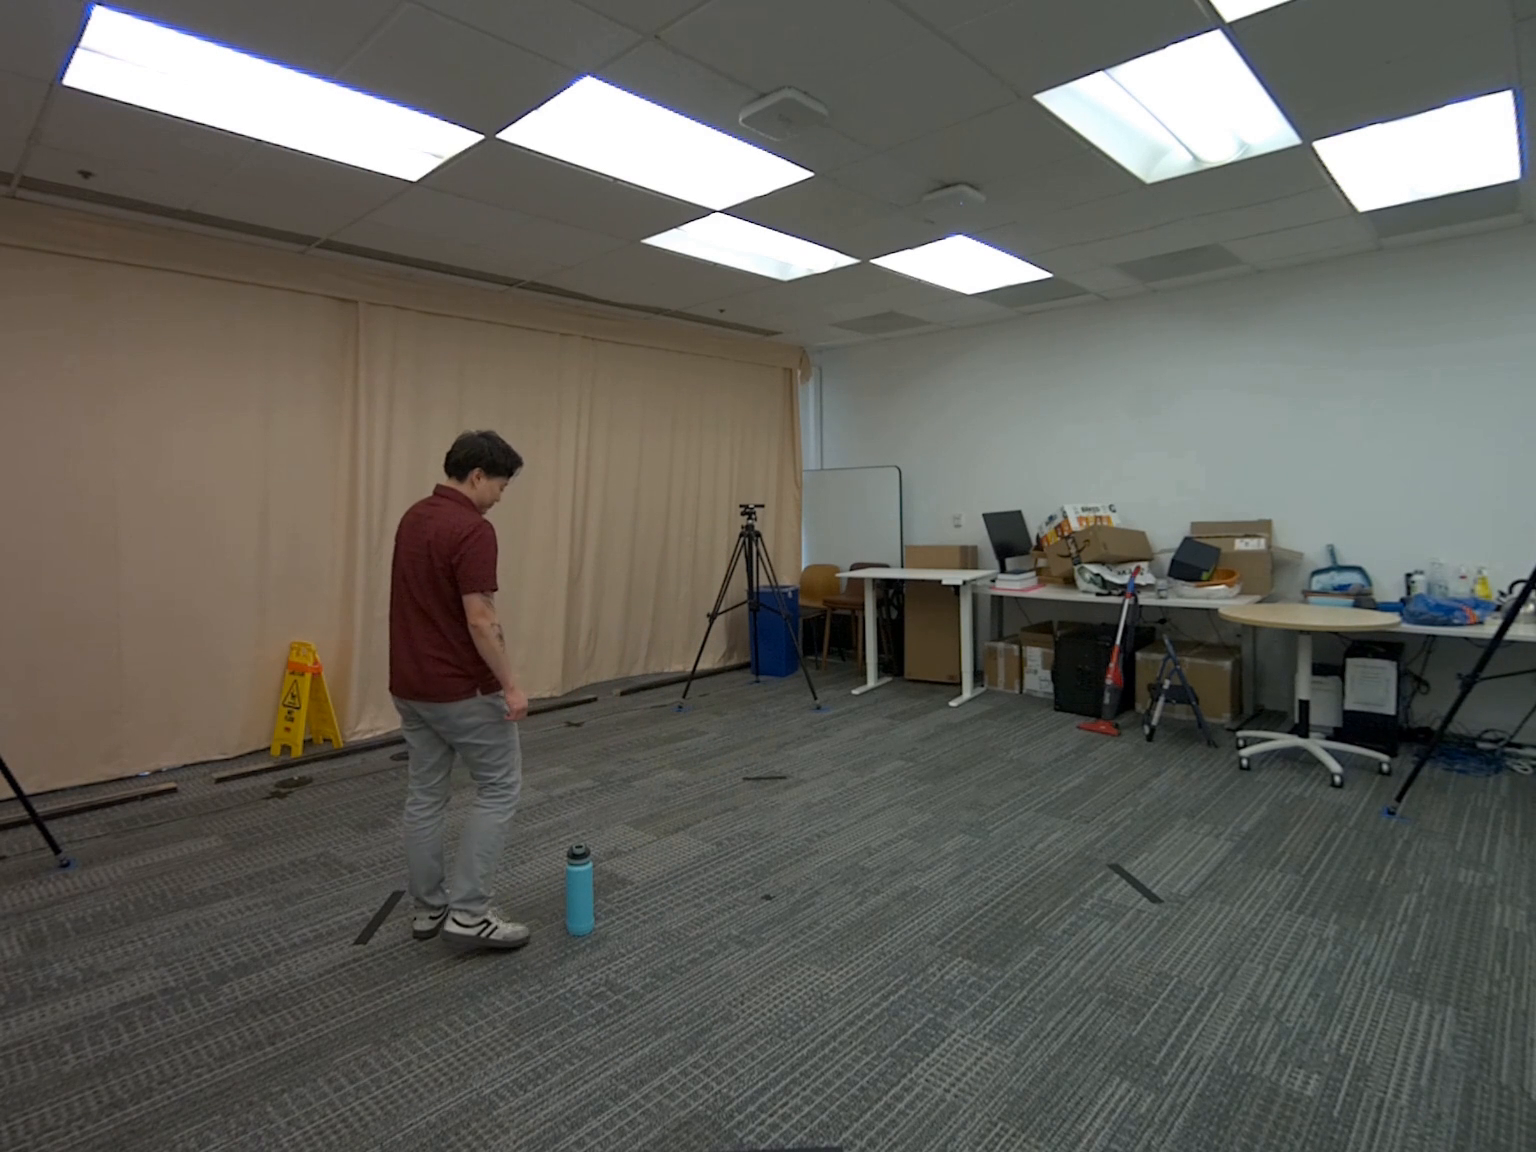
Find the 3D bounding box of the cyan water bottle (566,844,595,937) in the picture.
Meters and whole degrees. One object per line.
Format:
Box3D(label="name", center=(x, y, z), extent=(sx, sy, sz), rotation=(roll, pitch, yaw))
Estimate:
Box3D(label="cyan water bottle", center=(-0.632, 1.039, 2.770), extent=(0.092, 0.283, 0.092), rotation=(-3, 2, -2))
